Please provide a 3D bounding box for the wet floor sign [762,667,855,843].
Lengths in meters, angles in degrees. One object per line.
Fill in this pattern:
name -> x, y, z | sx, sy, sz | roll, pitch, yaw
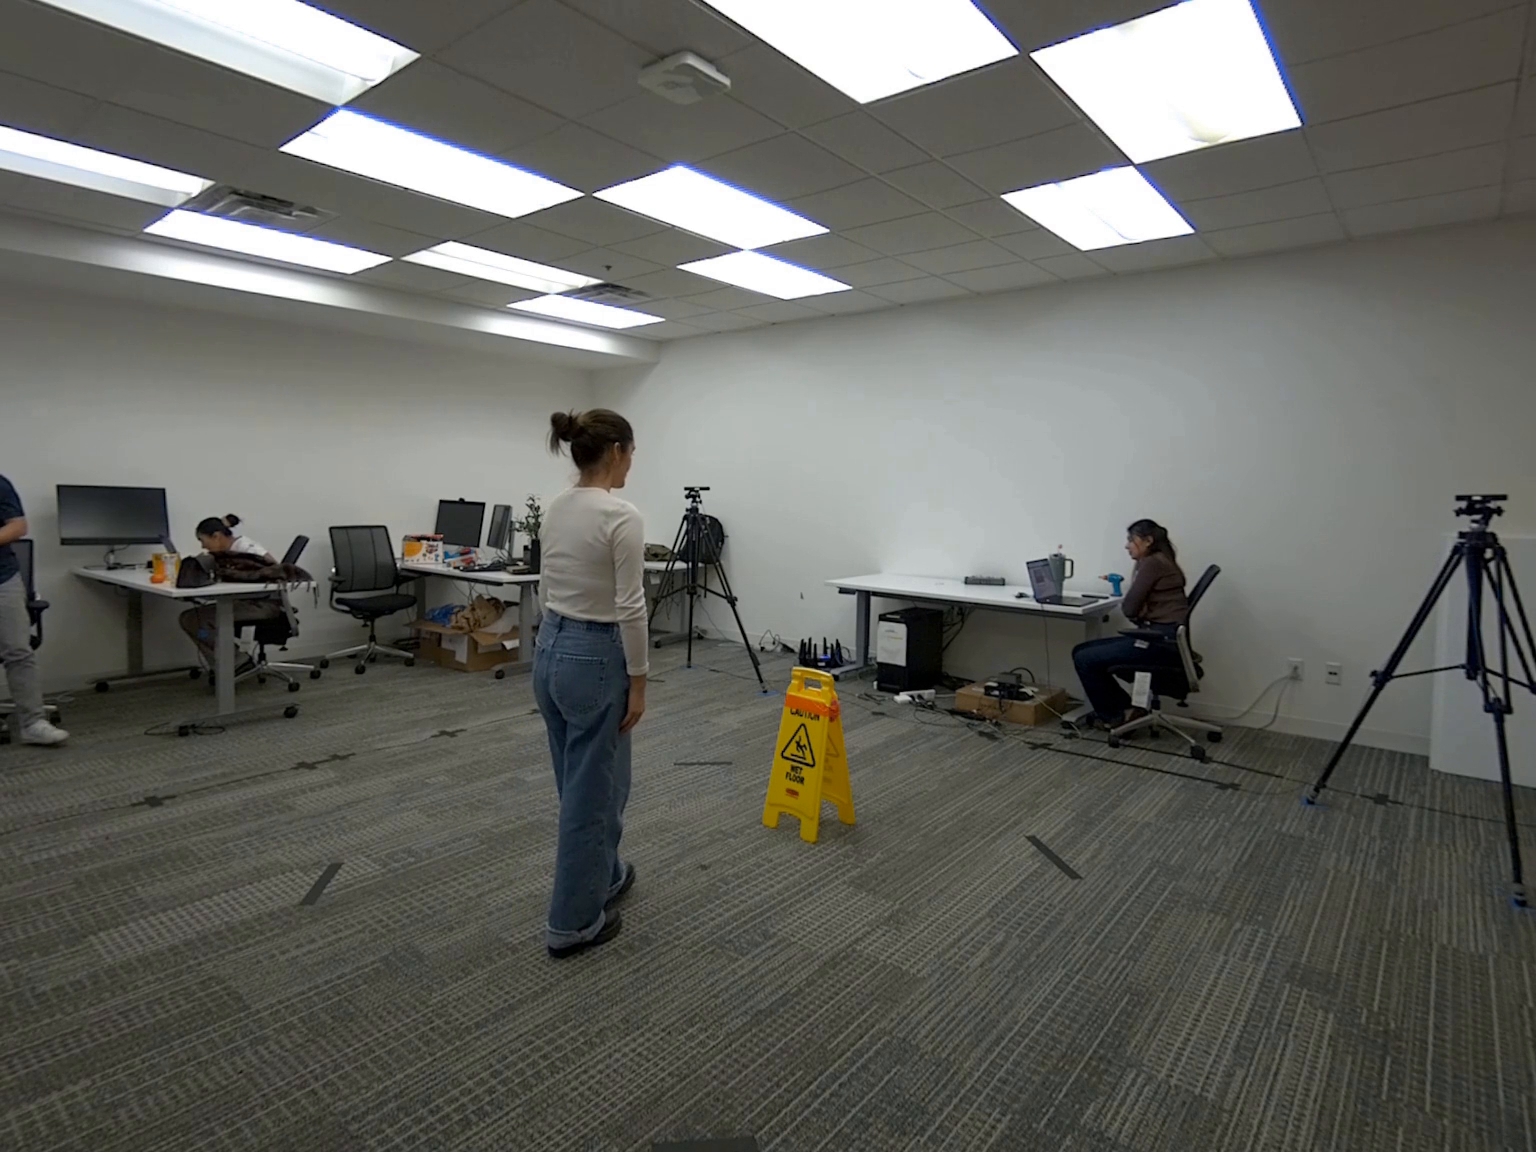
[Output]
wet floor sign -> 0.171, 0.706, 3.530 | 0.292, 0.644, 0.281 | 5, 4, 42
